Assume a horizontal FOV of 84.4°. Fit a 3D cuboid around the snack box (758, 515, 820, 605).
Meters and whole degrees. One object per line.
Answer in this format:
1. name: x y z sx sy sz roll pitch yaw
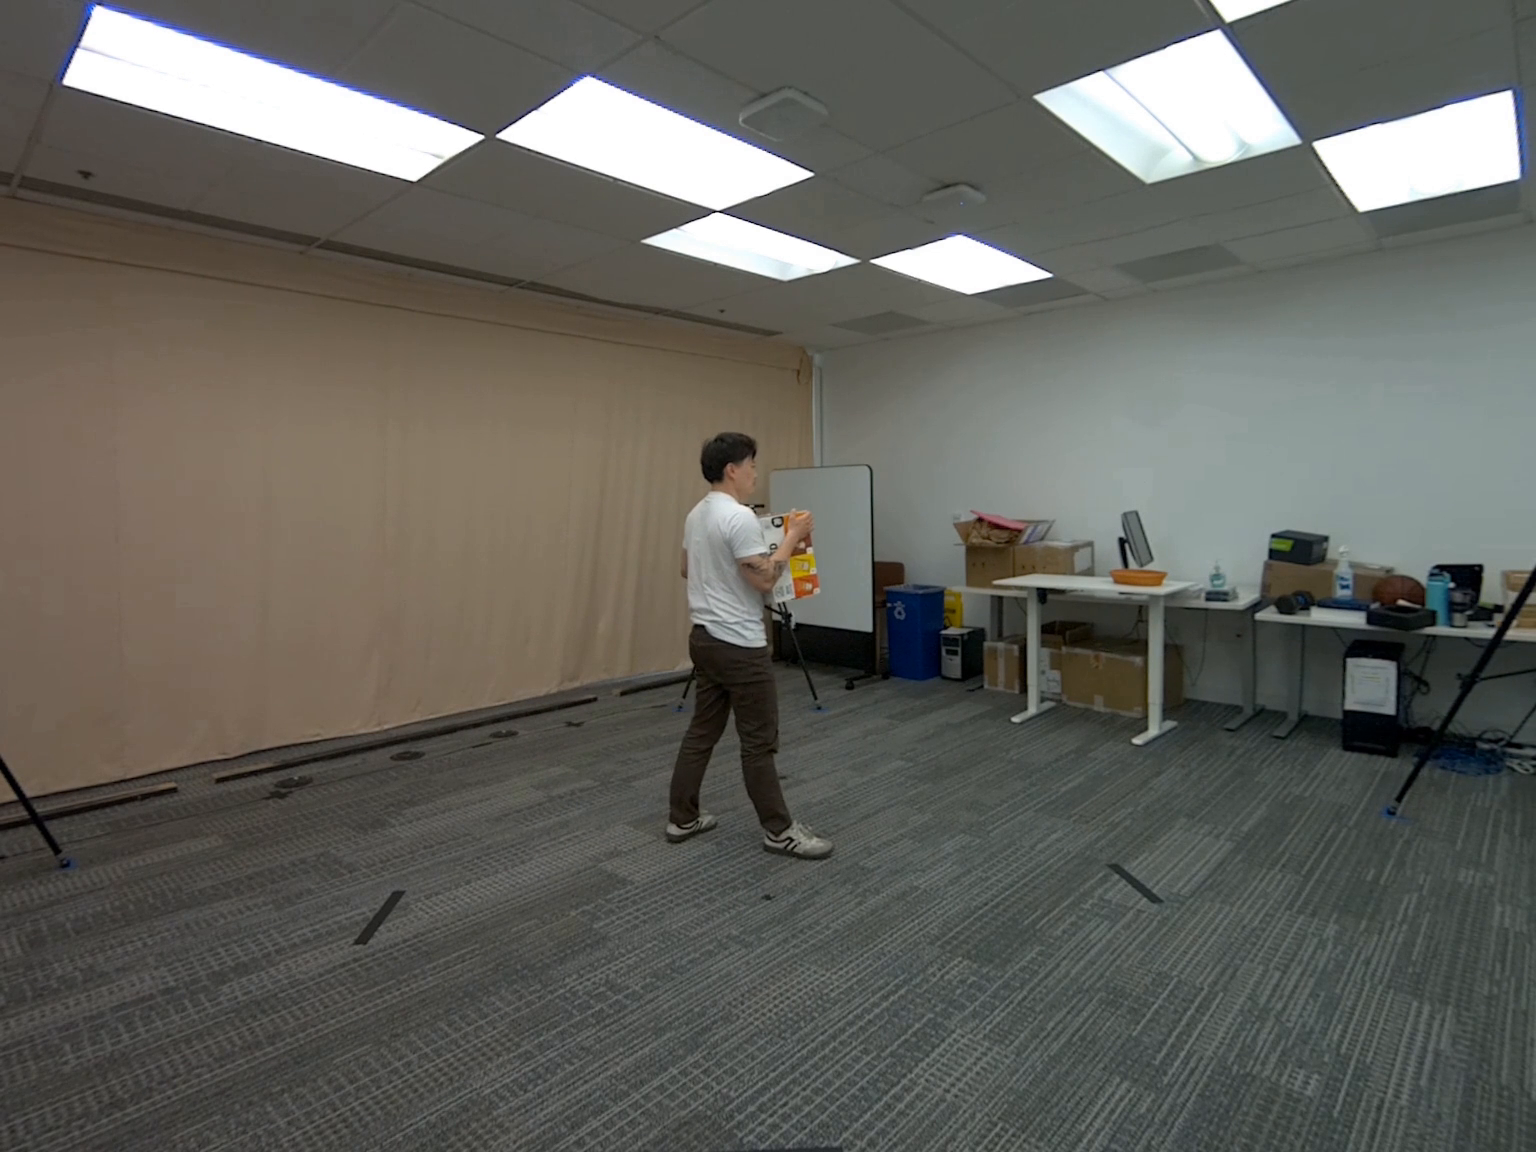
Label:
1. snack box: 0.026 -0.087 3.532 0.202 0.339 0.413 -10 4 -19
